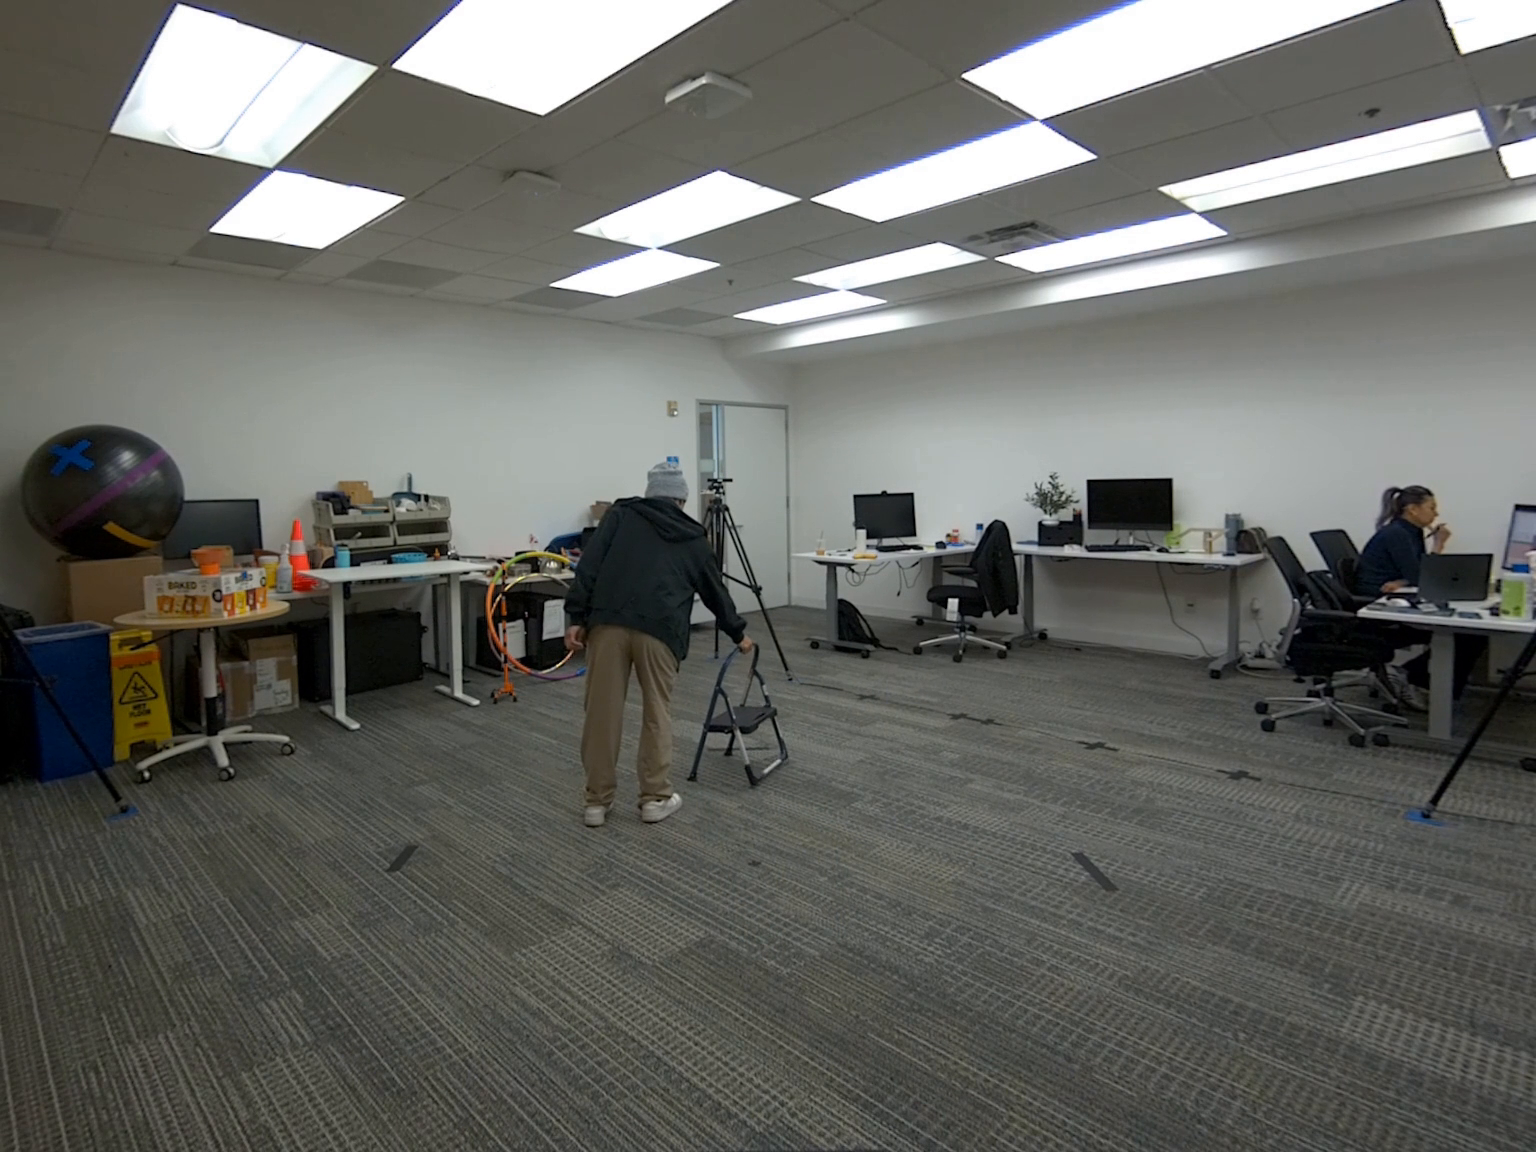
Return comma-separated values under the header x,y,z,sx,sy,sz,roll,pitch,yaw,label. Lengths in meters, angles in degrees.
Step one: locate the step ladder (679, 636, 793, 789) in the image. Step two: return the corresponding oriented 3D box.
x,y,z,sx,sy,sz,roll,pitch,yaw,label
-0.150,0.627,4.091,0.357,0.604,0.423,-3,4,24,step ladder
